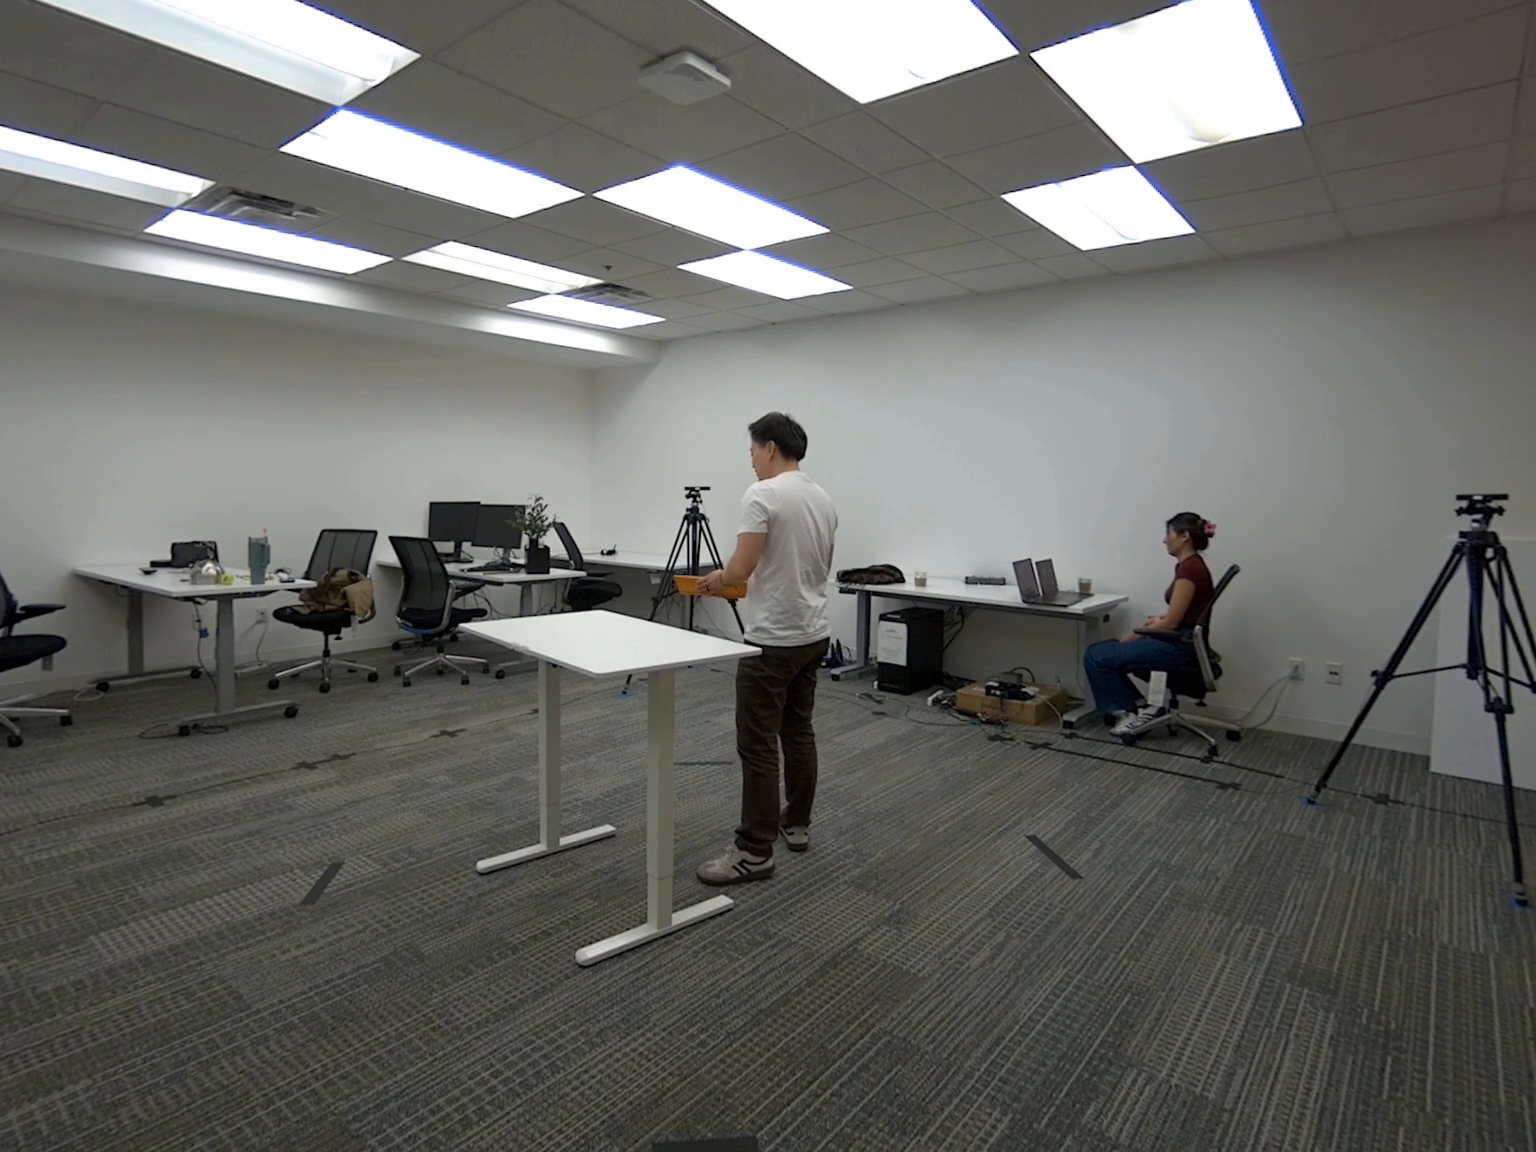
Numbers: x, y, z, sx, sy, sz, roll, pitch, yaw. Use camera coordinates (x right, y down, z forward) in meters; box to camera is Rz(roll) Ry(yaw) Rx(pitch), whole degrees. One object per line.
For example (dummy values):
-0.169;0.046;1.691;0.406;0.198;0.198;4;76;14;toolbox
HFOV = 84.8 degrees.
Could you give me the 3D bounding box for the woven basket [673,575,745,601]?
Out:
-0.215;0.044;3.476;0.356;0.073;0.248;3;1;15;woven basket
